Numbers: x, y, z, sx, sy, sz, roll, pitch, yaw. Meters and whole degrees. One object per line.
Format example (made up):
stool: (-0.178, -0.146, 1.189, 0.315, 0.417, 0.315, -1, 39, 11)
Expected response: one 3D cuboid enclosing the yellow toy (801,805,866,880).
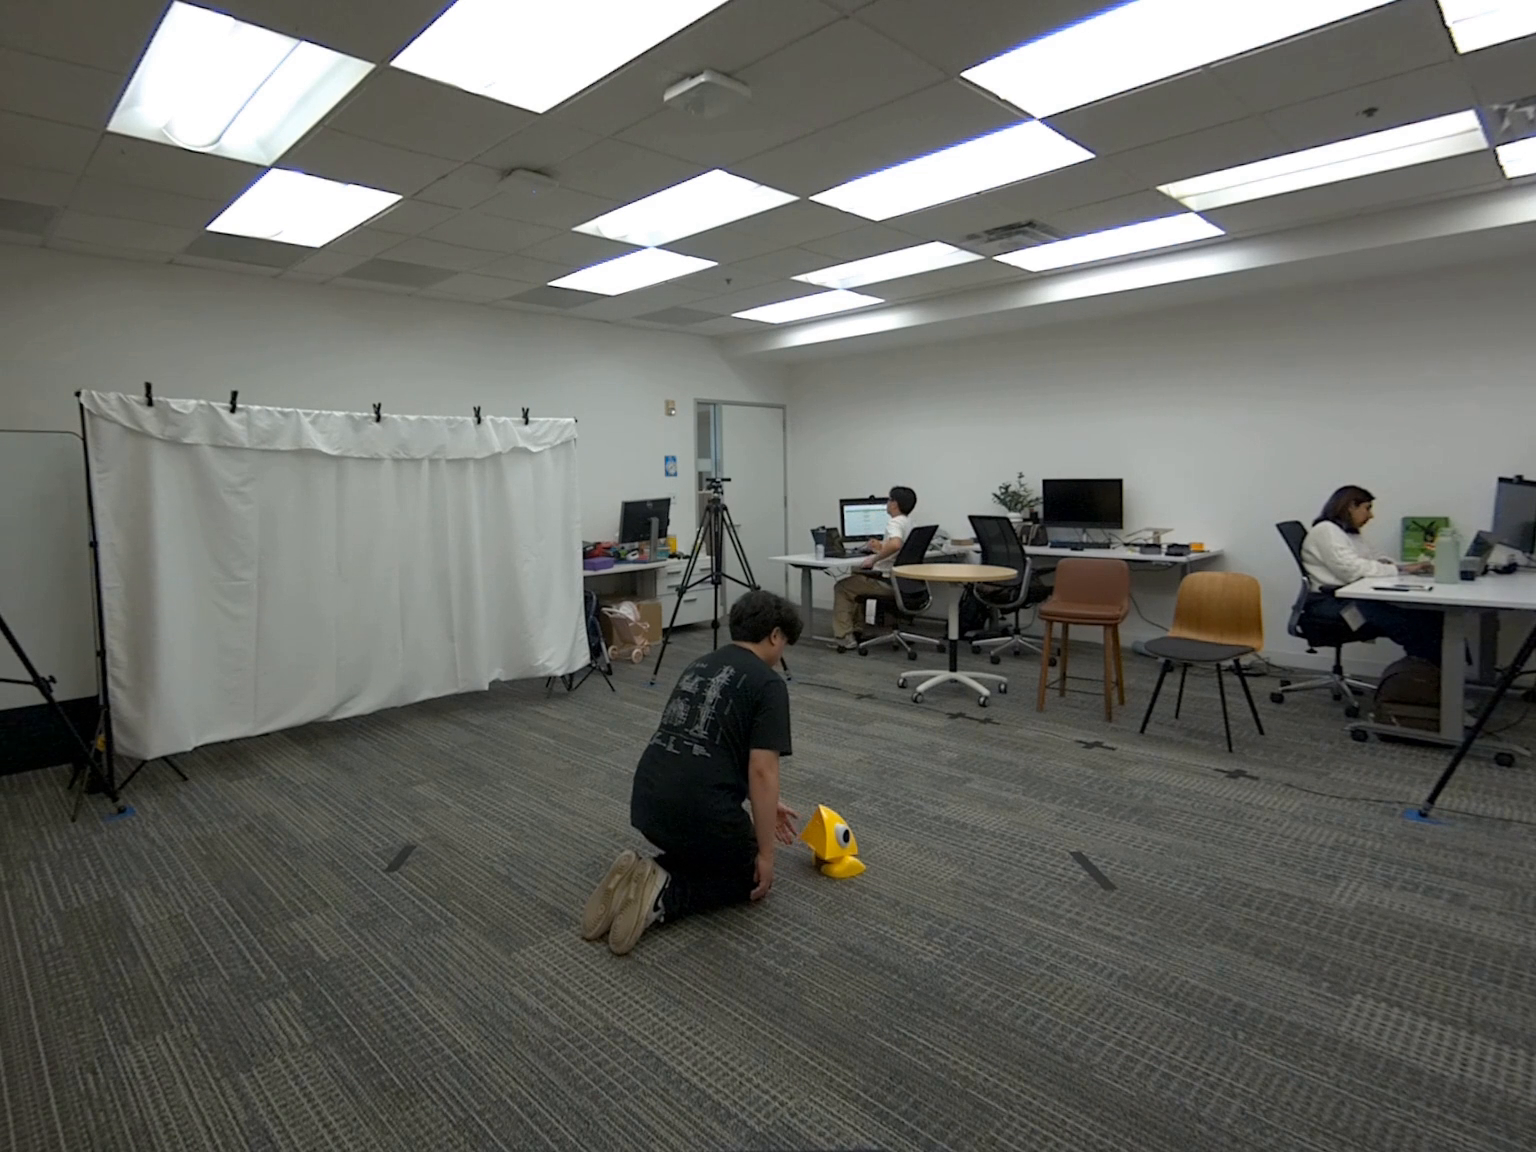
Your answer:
yellow toy: (0.244, 0.932, 3.067, 0.189, 0.230, 0.210, 0, 5, -23)
